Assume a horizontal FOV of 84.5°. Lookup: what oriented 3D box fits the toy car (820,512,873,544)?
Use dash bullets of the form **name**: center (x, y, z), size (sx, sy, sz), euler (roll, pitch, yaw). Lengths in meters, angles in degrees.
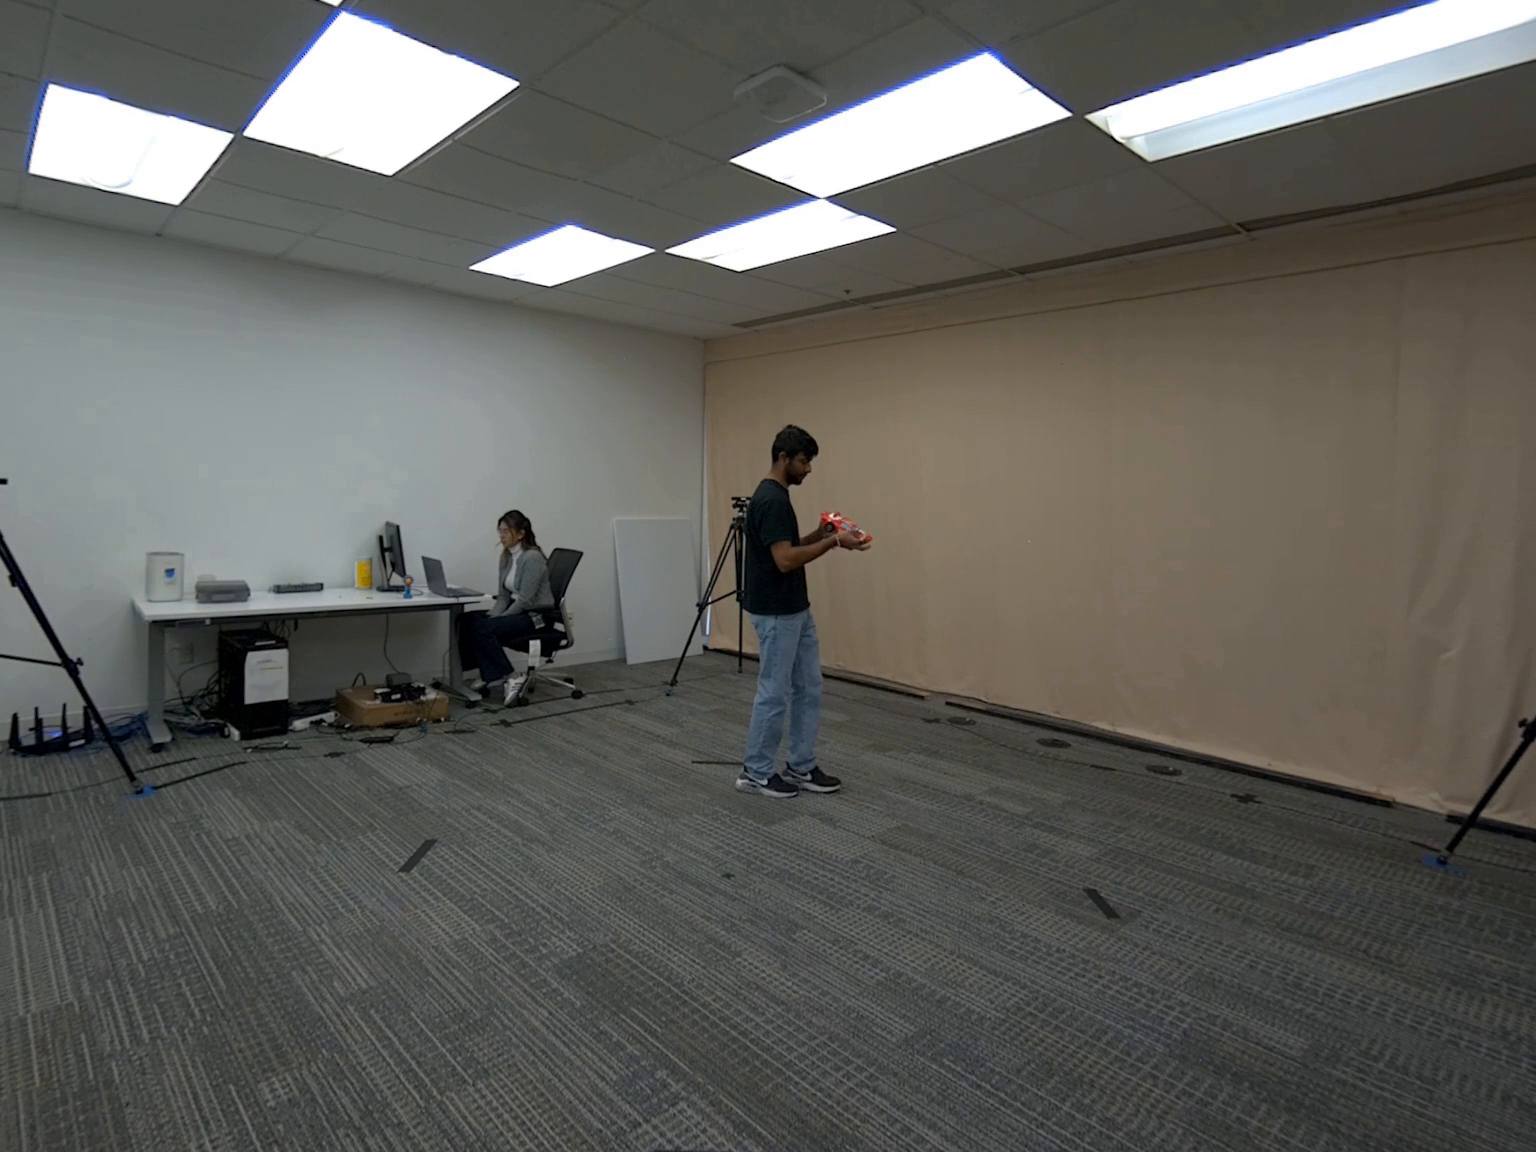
- **toy car**: center (0.339, -0.219, 3.863), size (0.259, 0.083, 0.128), euler (40, 29, 17)
